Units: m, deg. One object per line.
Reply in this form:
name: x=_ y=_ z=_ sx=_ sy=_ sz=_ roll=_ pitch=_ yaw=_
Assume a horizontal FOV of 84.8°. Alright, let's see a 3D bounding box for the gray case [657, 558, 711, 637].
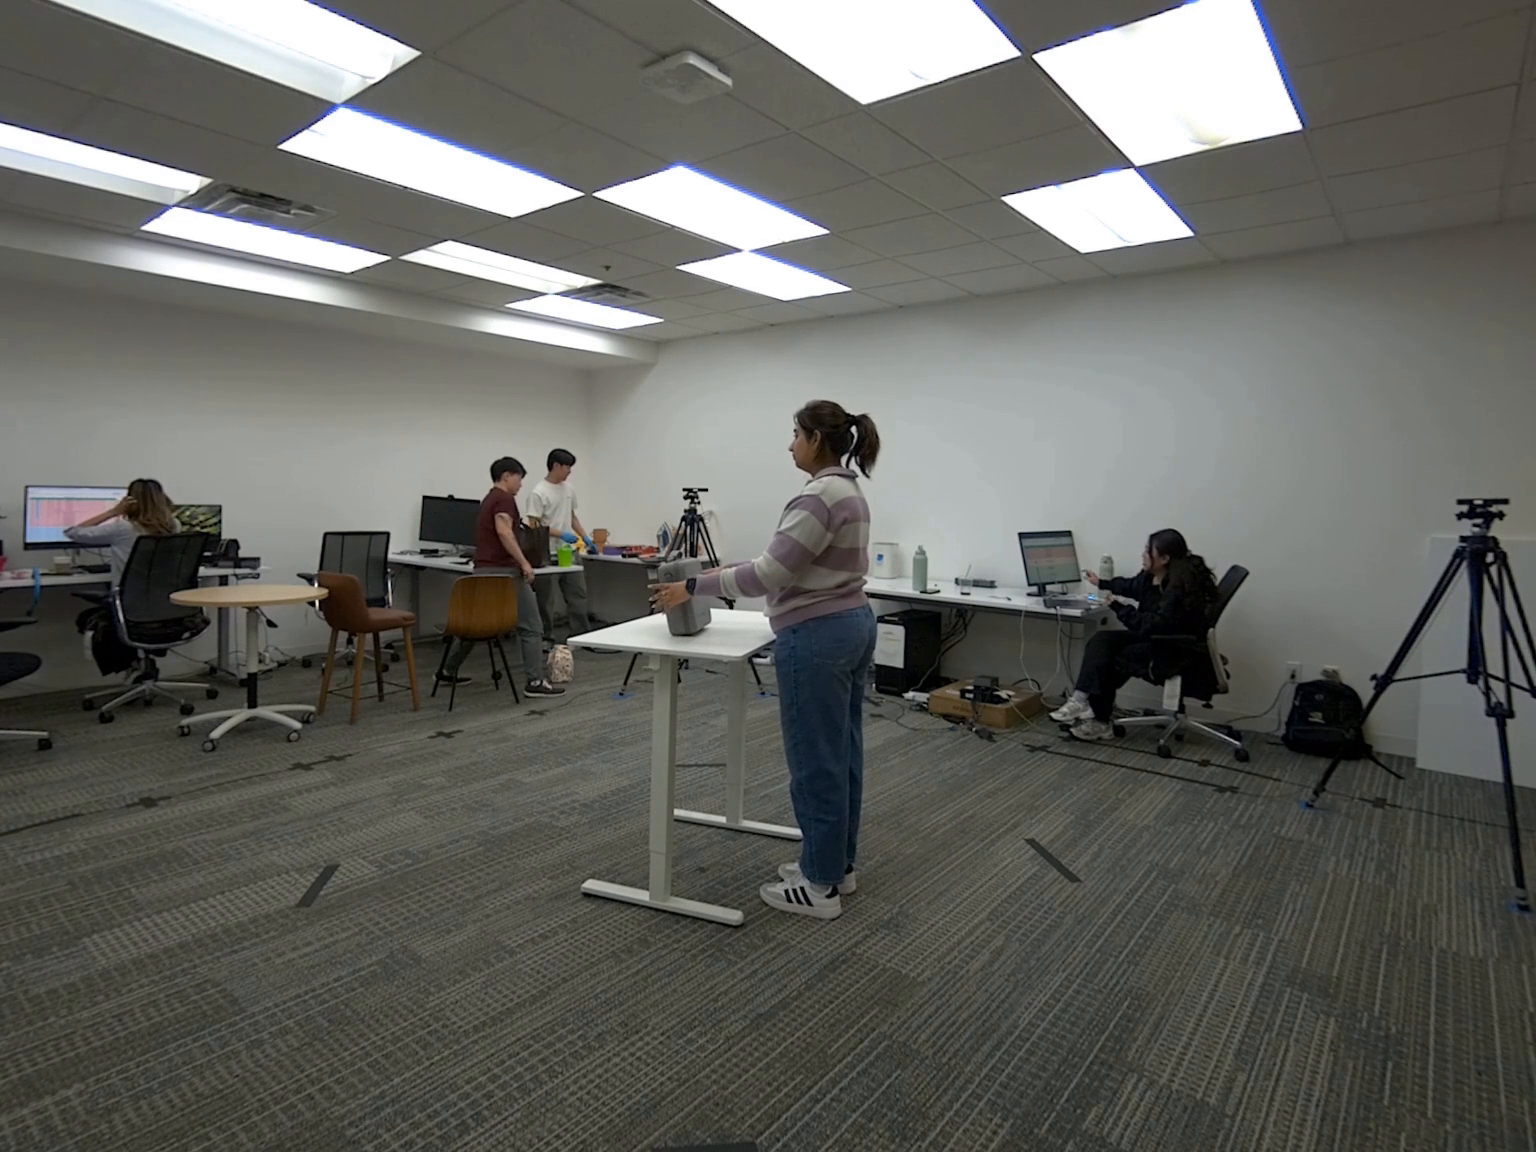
gray case: x=-0.304 y=0.066 z=3.012 sx=0.105 sy=0.261 sz=0.254 roll=-10 pitch=-1 yaw=11
